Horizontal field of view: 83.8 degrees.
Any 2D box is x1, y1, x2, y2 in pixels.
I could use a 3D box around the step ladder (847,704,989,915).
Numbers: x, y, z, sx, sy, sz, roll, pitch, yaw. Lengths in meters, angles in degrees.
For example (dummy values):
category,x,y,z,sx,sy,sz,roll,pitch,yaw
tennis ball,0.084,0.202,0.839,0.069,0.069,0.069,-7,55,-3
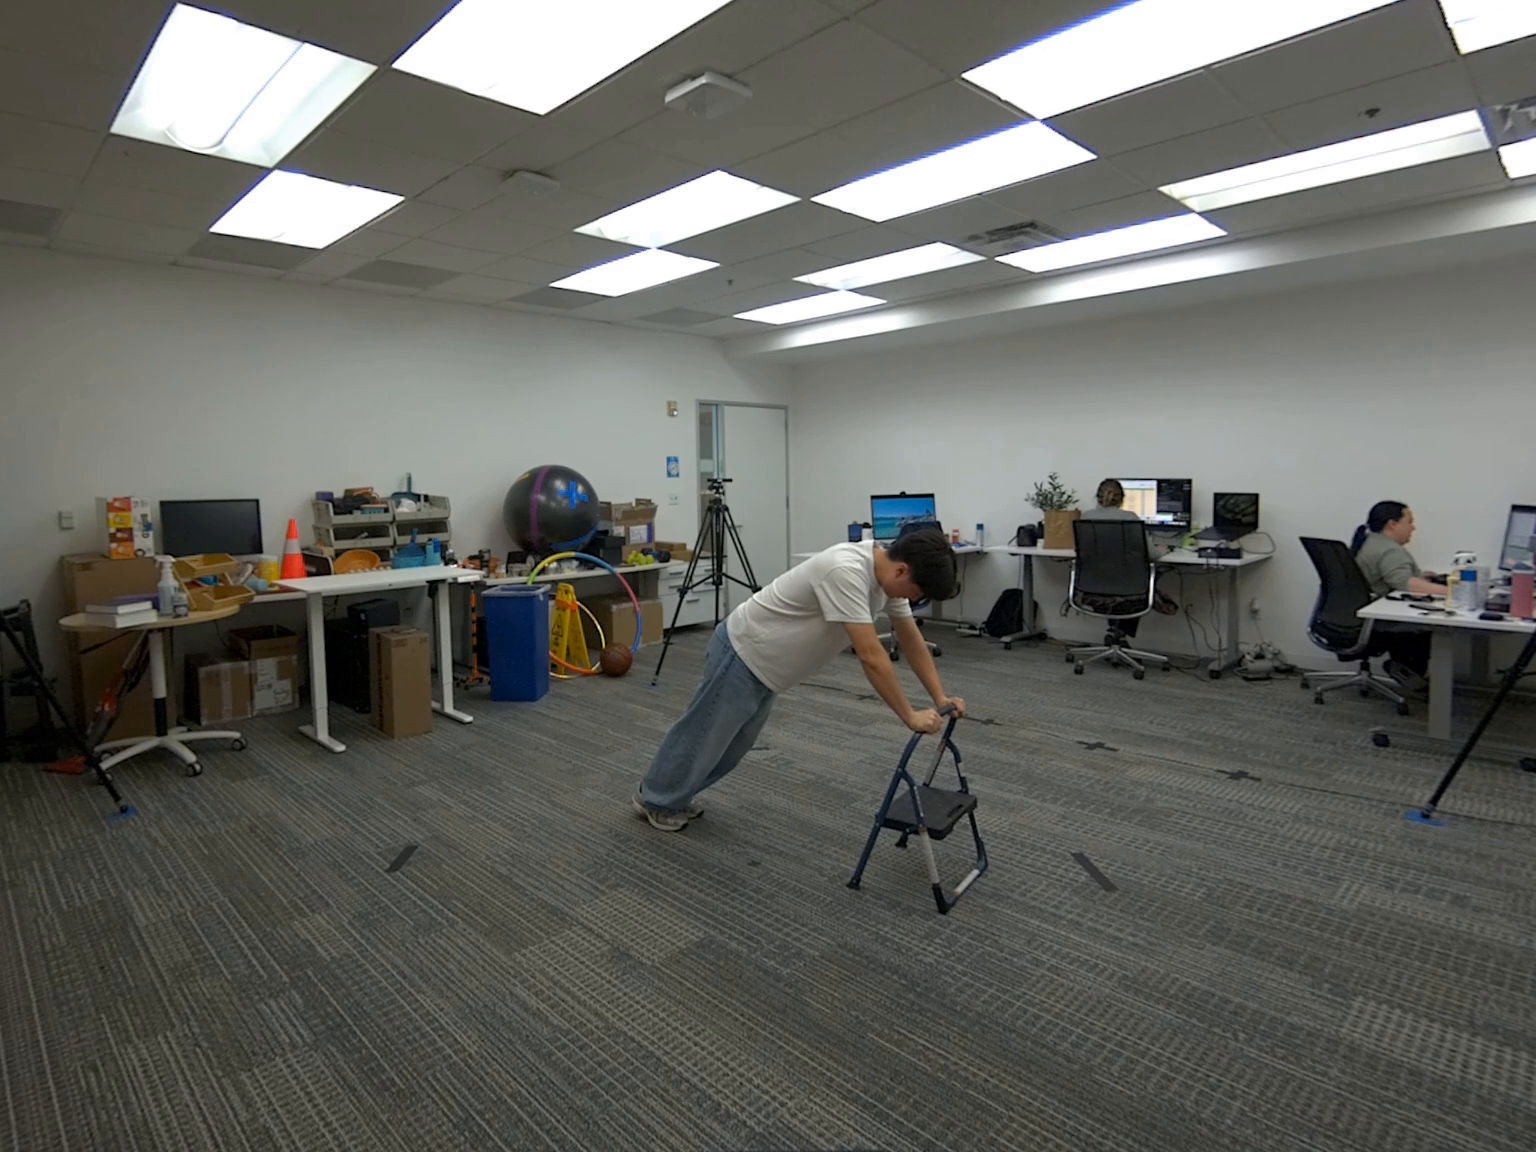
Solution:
category,x,y,z,sx,sy,sz,roll,pitch,yaw
step ladder,0.532,0.750,2.957,0.359,0.603,0.420,3,6,33
